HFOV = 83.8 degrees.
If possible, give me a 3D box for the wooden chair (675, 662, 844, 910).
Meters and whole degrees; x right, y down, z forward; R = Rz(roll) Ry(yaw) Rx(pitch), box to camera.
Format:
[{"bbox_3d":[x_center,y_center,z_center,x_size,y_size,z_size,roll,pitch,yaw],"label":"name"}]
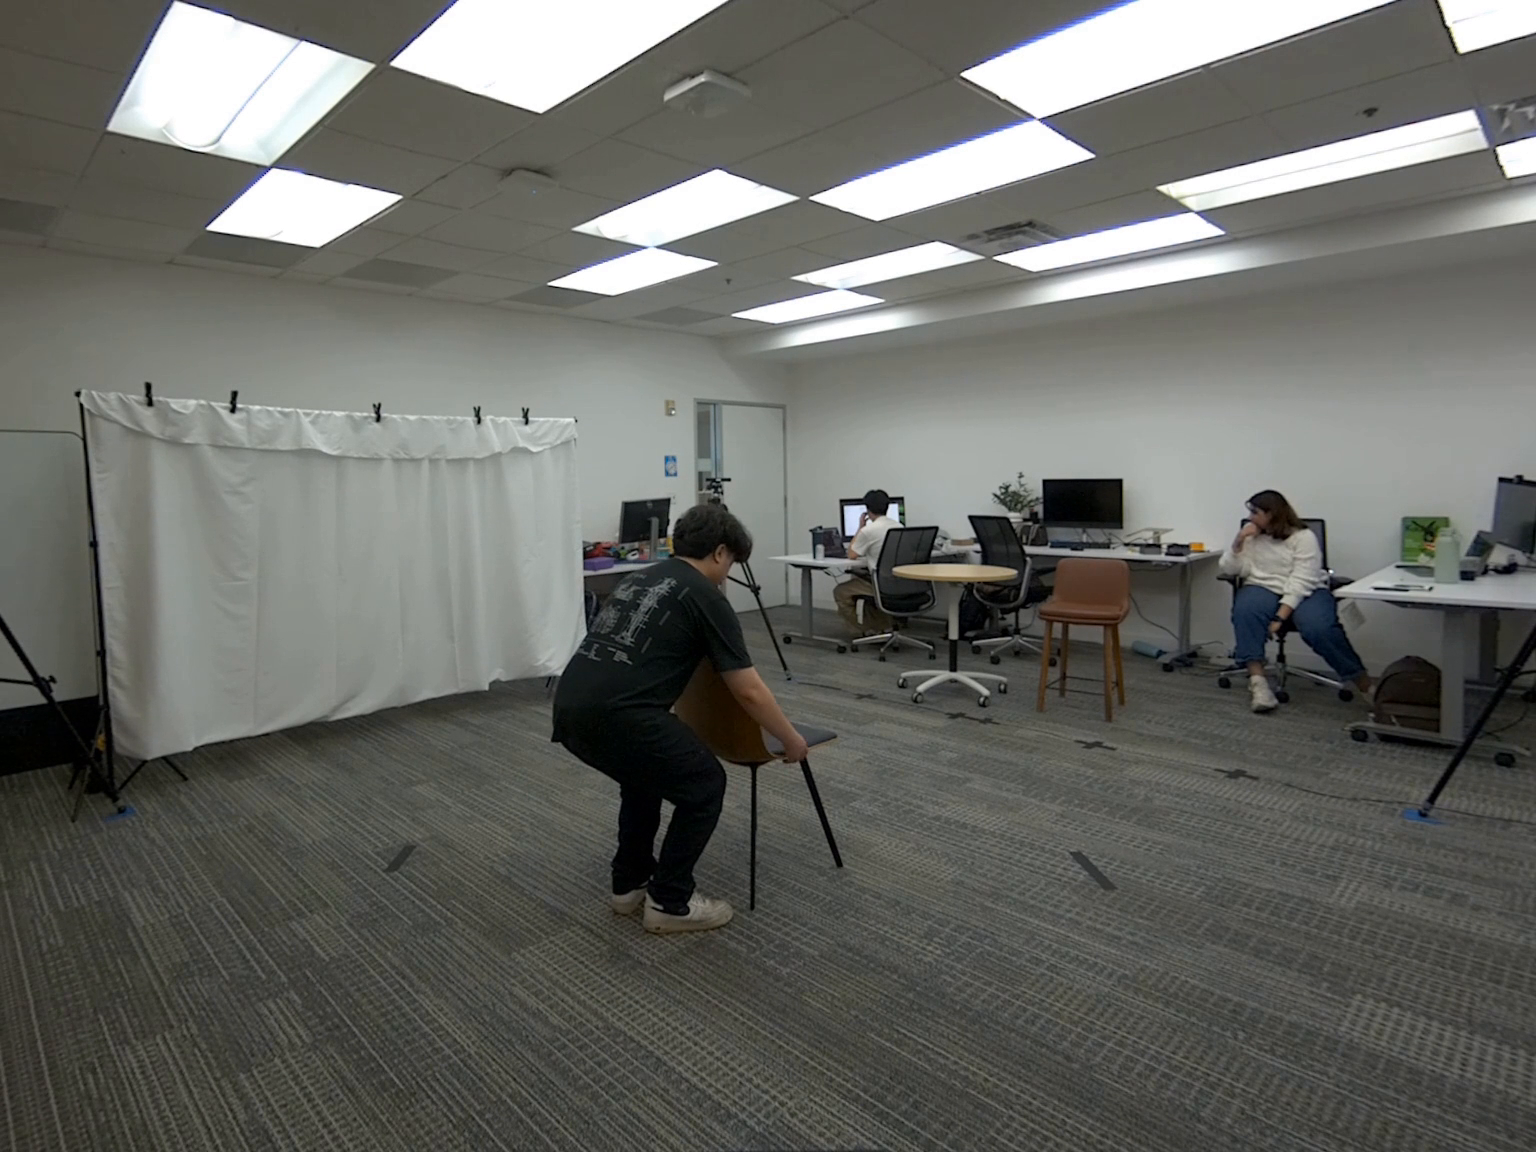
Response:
[{"bbox_3d":[-0.047,0.623,3.056,0.511,0.872,0.492,-11,9,-43],"label":"wooden chair"}]
